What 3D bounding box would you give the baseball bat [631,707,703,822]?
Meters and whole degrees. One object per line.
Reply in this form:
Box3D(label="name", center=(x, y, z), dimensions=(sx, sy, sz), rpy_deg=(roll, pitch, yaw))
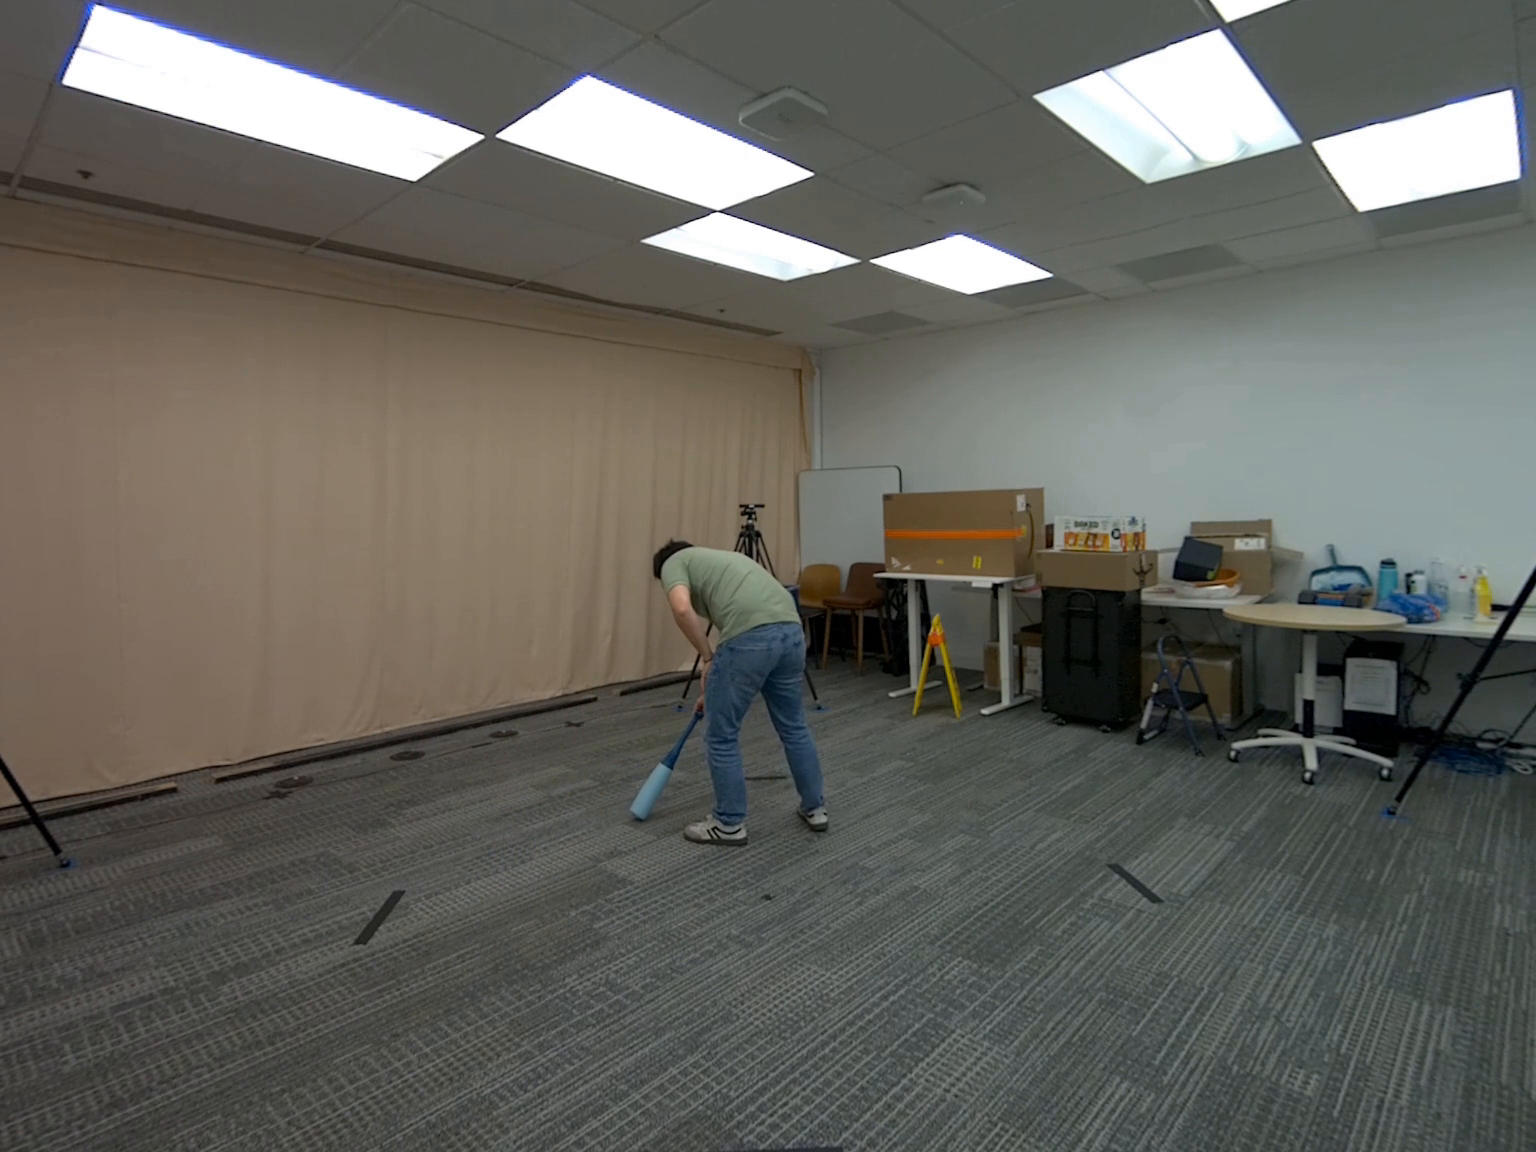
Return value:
Box3D(label="baseball bat", center=(-0.445, 0.849, 3.814), dimensions=(0.090, 0.542, 0.088), rpy_deg=(31, -15, 7))
